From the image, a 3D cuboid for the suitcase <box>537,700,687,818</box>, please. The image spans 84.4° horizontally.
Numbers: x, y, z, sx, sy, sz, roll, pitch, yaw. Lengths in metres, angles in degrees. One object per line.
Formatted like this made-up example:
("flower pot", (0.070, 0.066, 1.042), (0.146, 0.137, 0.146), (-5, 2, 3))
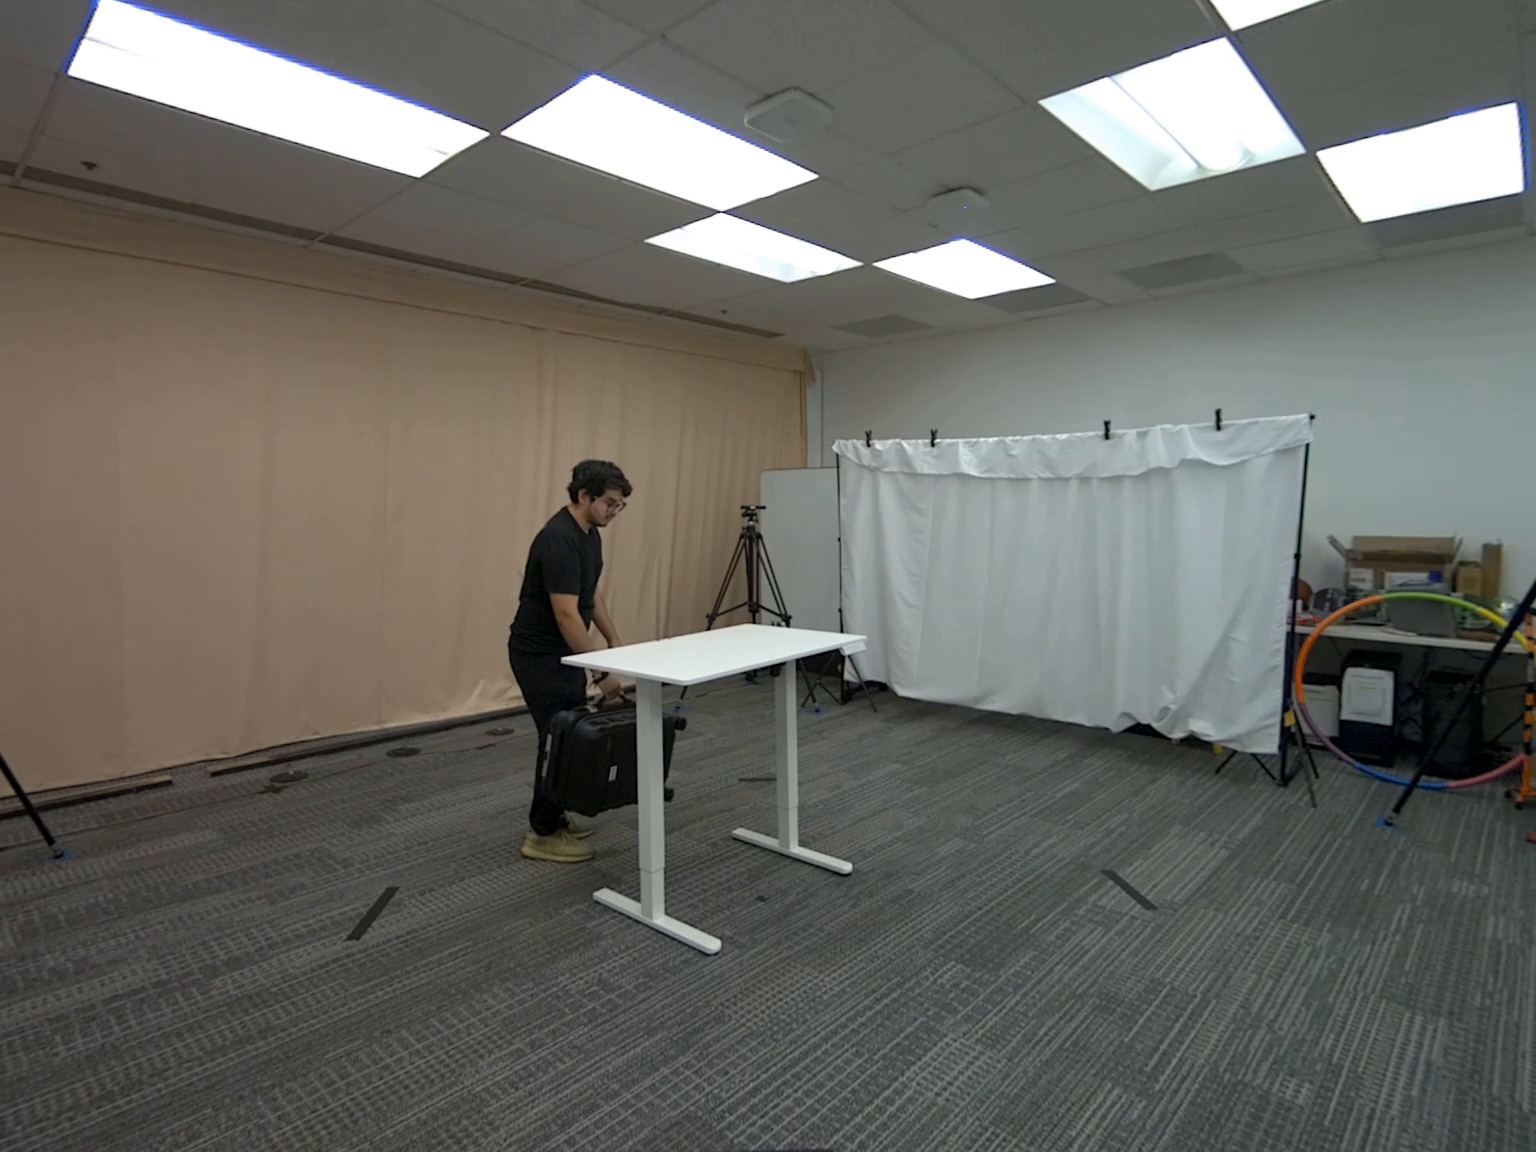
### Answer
("suitcase", (-0.596, 0.681, 3.225), (0.256, 0.375, 0.533), (12, 3, 30))
